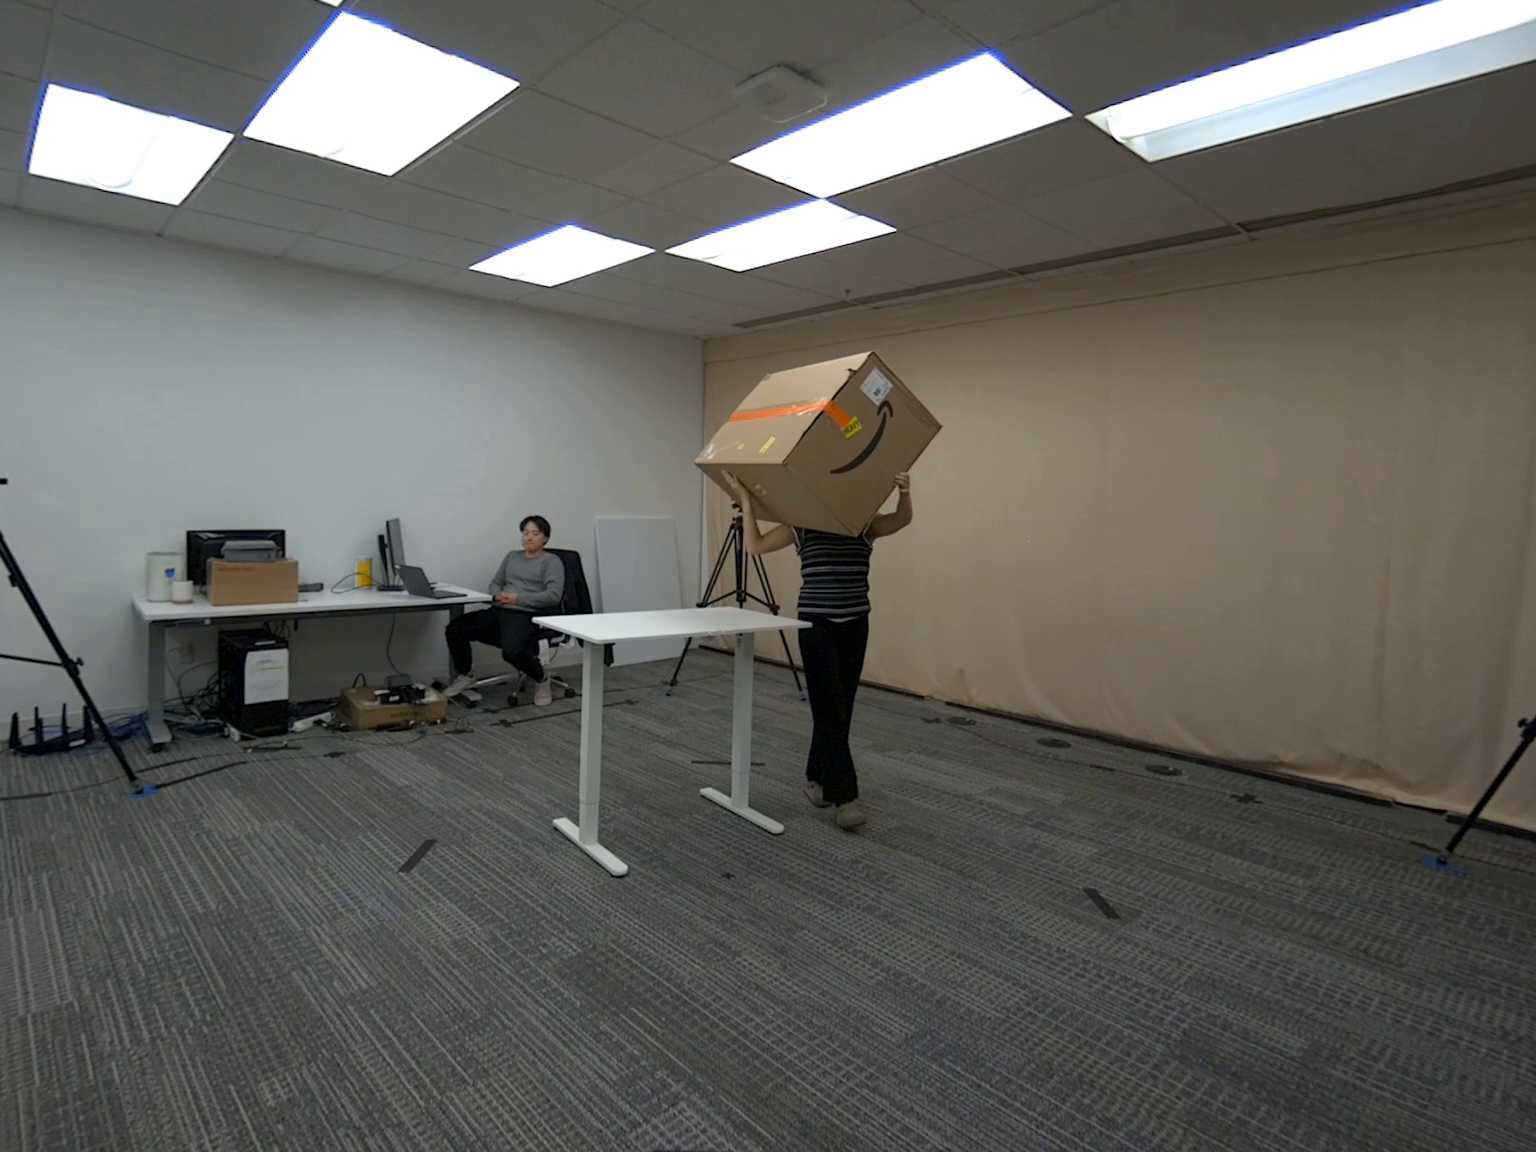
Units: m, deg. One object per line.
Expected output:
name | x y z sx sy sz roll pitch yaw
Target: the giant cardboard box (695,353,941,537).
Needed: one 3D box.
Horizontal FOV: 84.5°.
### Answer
giant cardboard box | 0.153 -0.561 3.645 0.417 0.578 1.047 42 -10 -22
